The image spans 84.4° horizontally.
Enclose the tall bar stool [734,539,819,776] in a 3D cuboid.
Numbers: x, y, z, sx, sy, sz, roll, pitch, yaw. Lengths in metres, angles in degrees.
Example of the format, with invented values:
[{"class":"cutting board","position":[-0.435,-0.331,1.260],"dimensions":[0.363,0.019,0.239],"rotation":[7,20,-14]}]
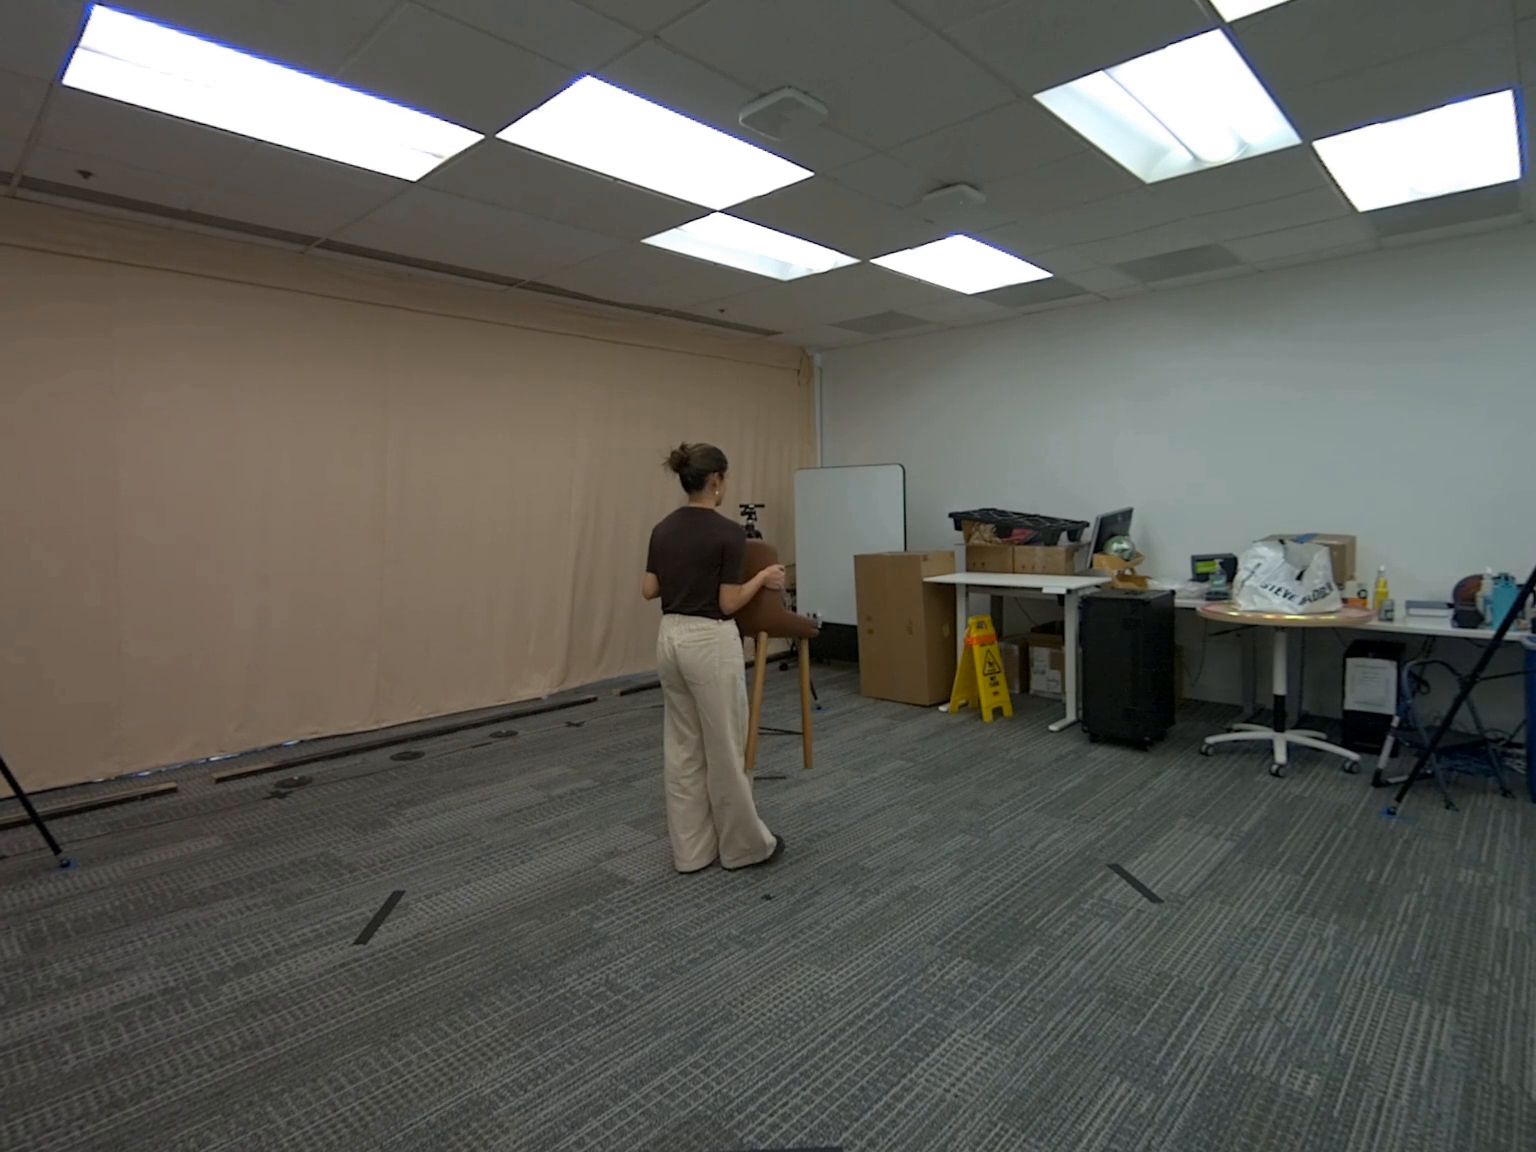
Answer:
[{"class":"tall bar stool","position":[-0.068,0.329,3.452],"dimensions":[0.470,0.893,0.452],"rotation":[-1,-9,34]}]
